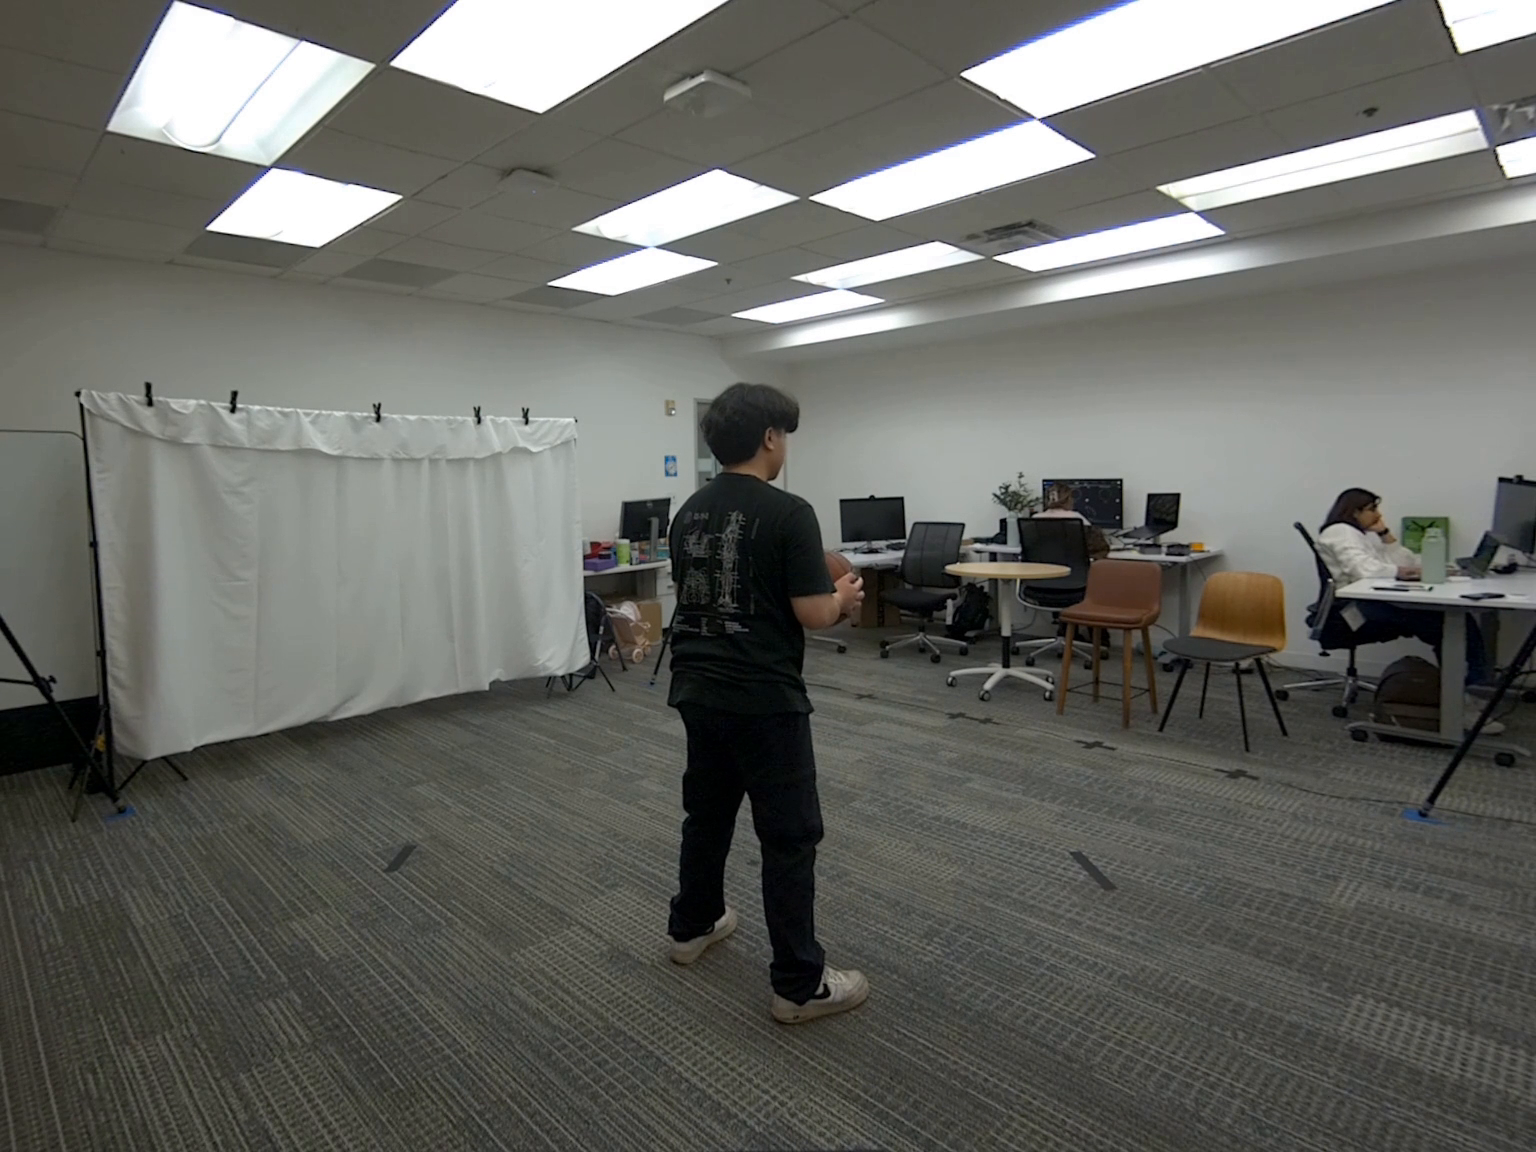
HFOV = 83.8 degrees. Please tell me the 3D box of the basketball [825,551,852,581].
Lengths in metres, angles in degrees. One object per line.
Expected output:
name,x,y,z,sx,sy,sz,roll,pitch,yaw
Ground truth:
basketball,0.172,0.038,2.552,0.236,0.235,0.237,-1,5,-2
